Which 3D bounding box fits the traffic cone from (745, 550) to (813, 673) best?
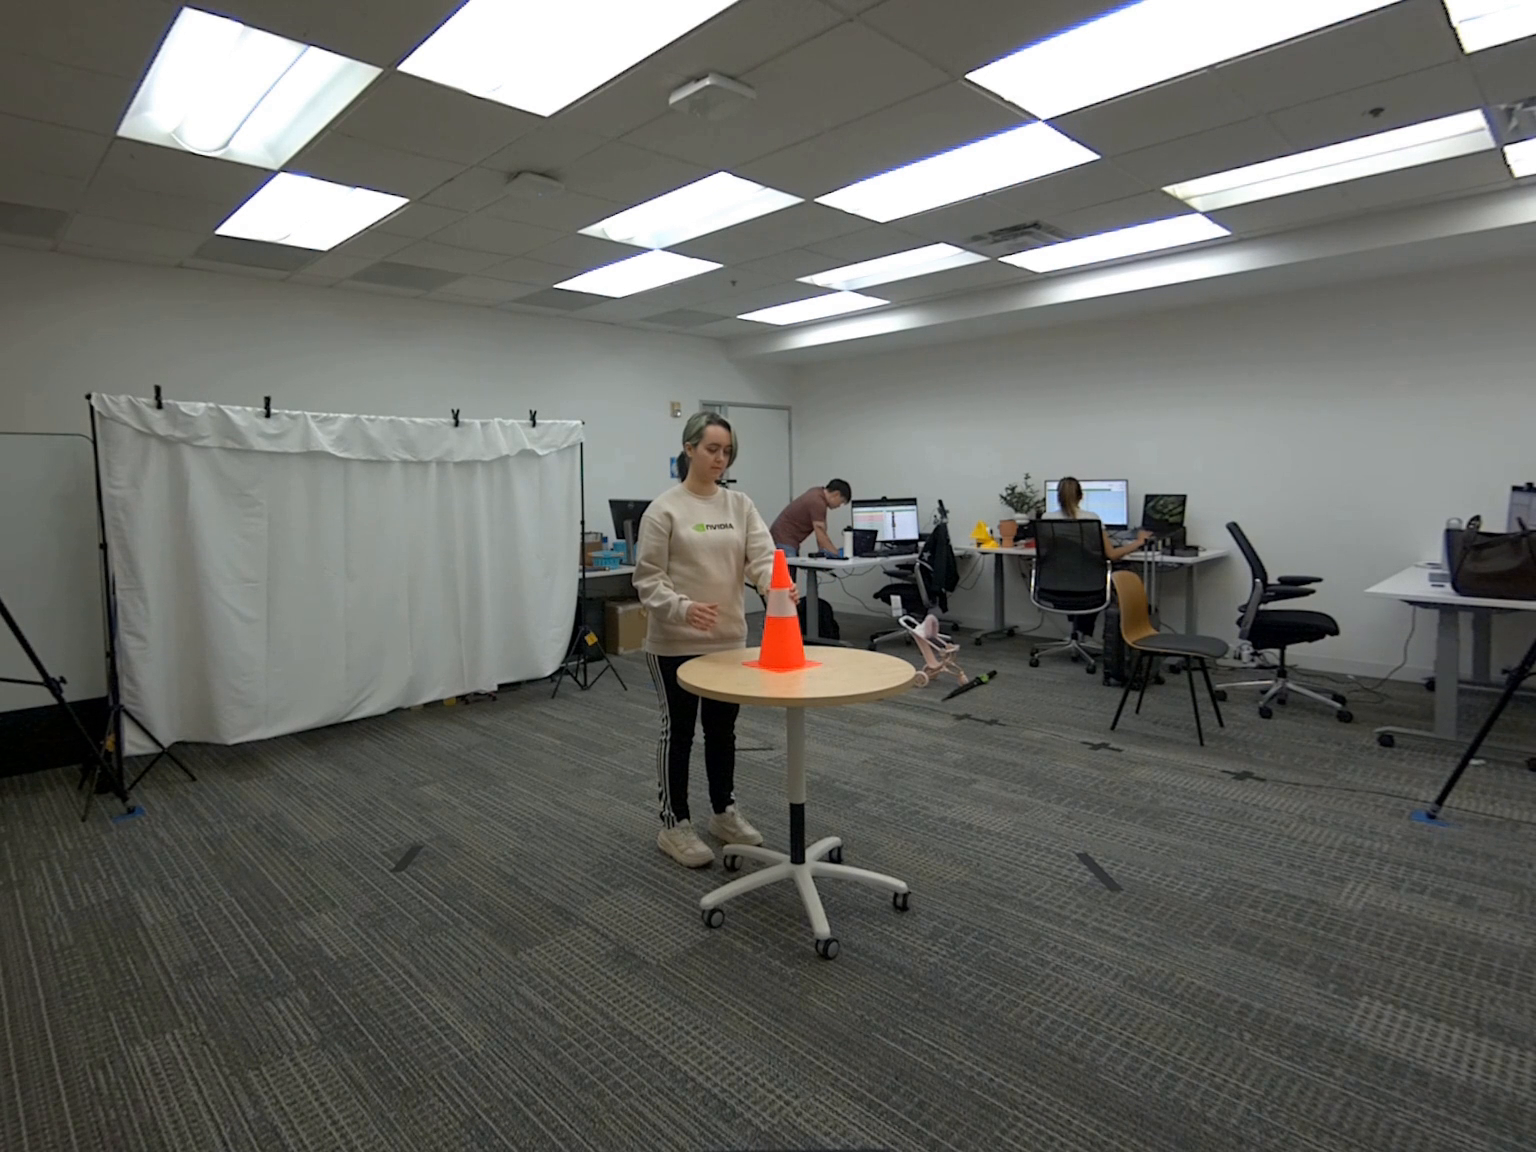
[{"bbox_3d":[0.045,0.105,2.832,0.209,0.383,0.200,-1,2,36],"label":"traffic cone"}]
